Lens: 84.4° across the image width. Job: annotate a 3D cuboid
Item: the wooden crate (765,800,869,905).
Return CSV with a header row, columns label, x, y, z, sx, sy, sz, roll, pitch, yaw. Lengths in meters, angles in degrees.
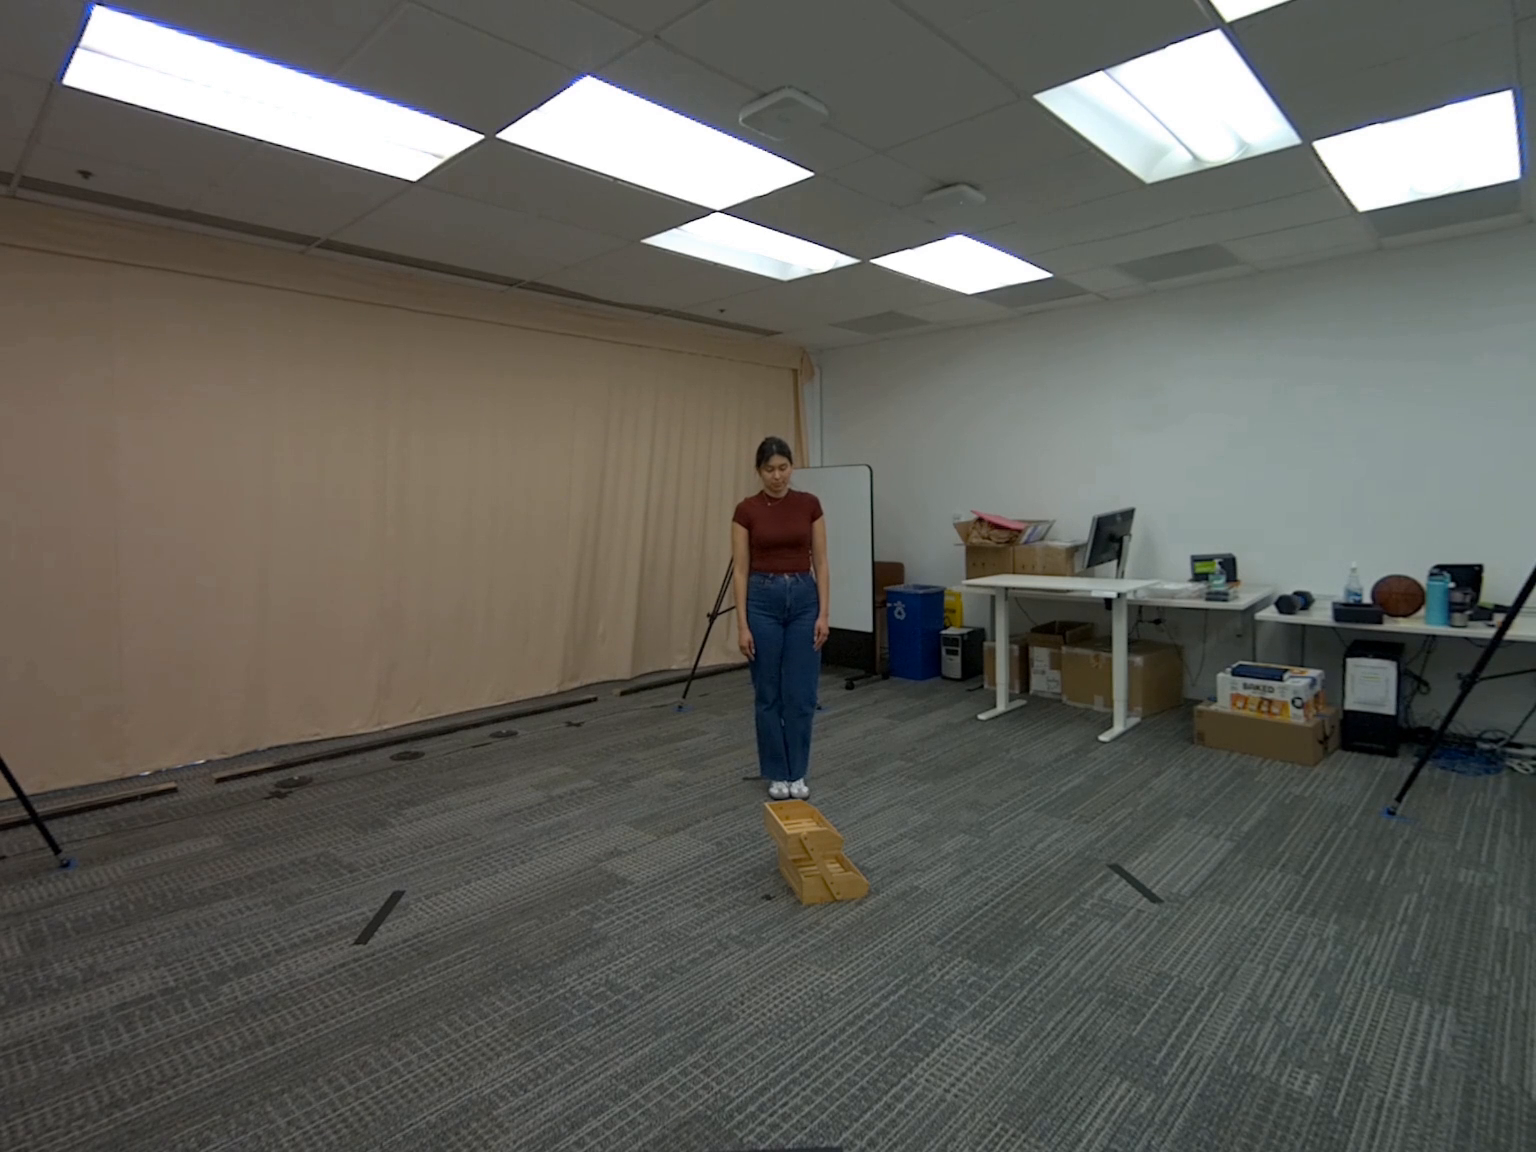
label,x,y,z,sx,sy,sz,roll,pitch,yaw
wooden crate,0.176,0.988,3.083,0.298,0.272,0.330,-2,4,-15
